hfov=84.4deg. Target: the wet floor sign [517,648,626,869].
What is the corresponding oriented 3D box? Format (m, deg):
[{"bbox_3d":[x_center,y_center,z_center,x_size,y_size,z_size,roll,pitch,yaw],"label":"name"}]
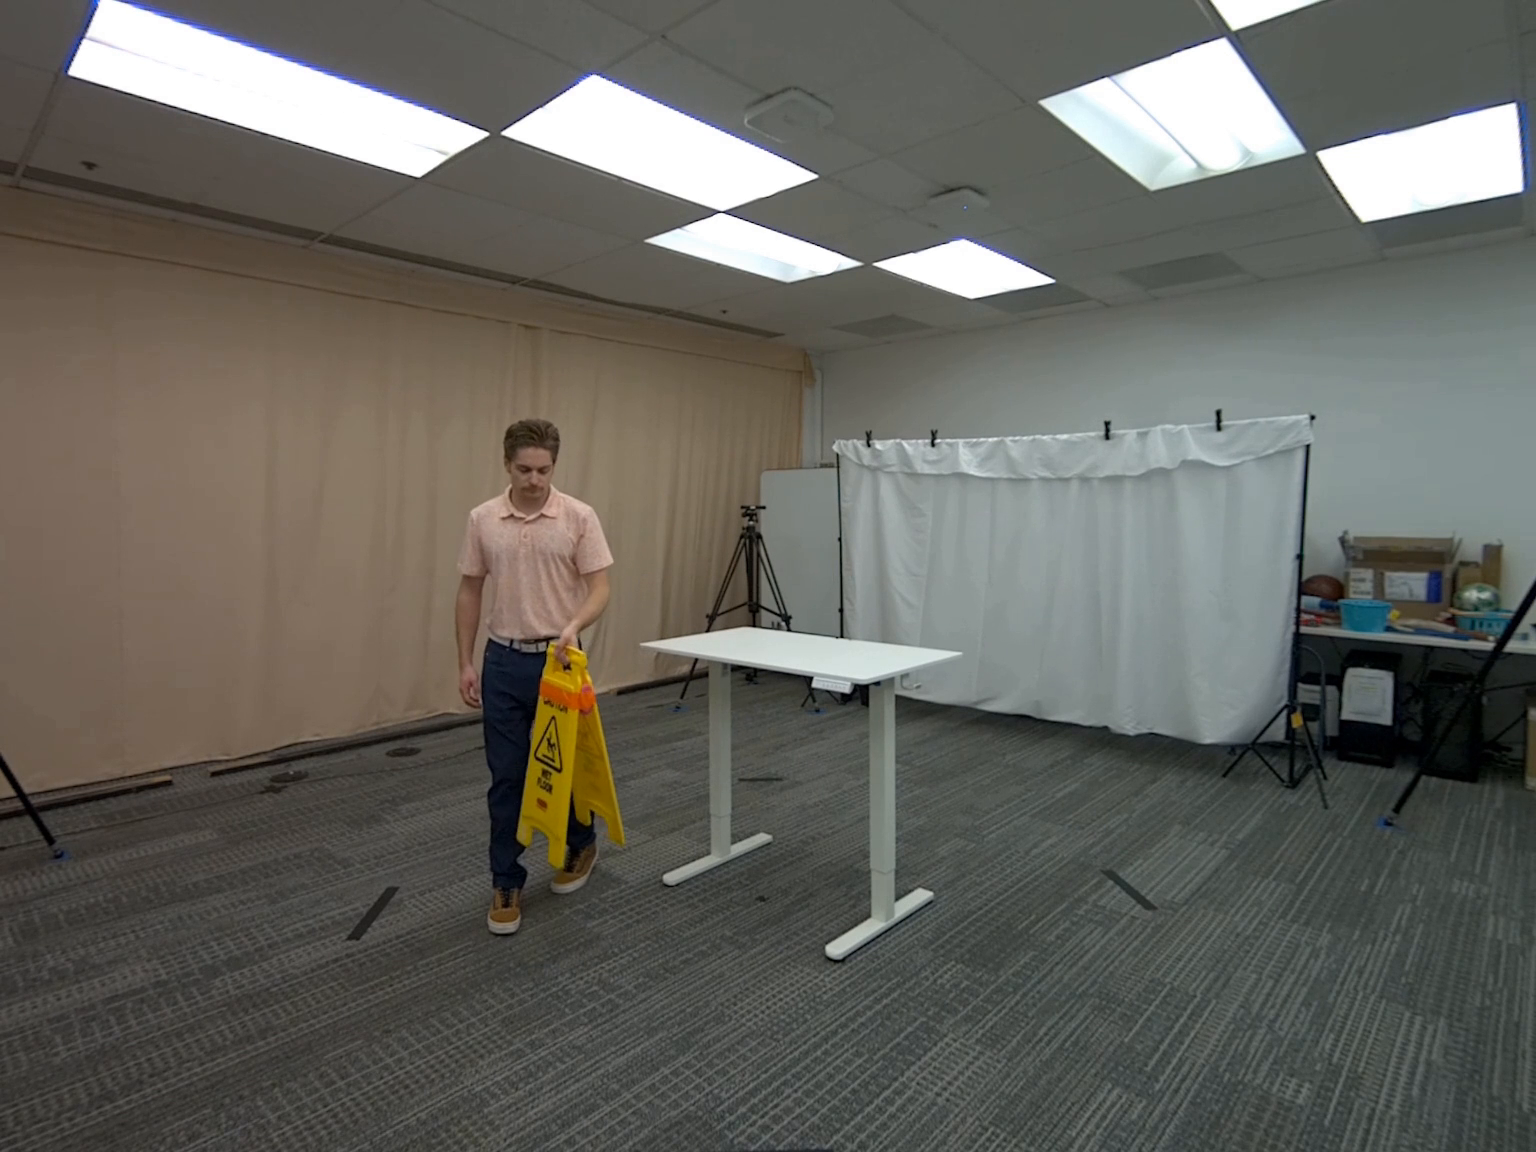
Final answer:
[{"bbox_3d":[-0.644,0.551,2.700,0.281,0.643,0.292,-5,8,-41],"label":"wet floor sign"}]
